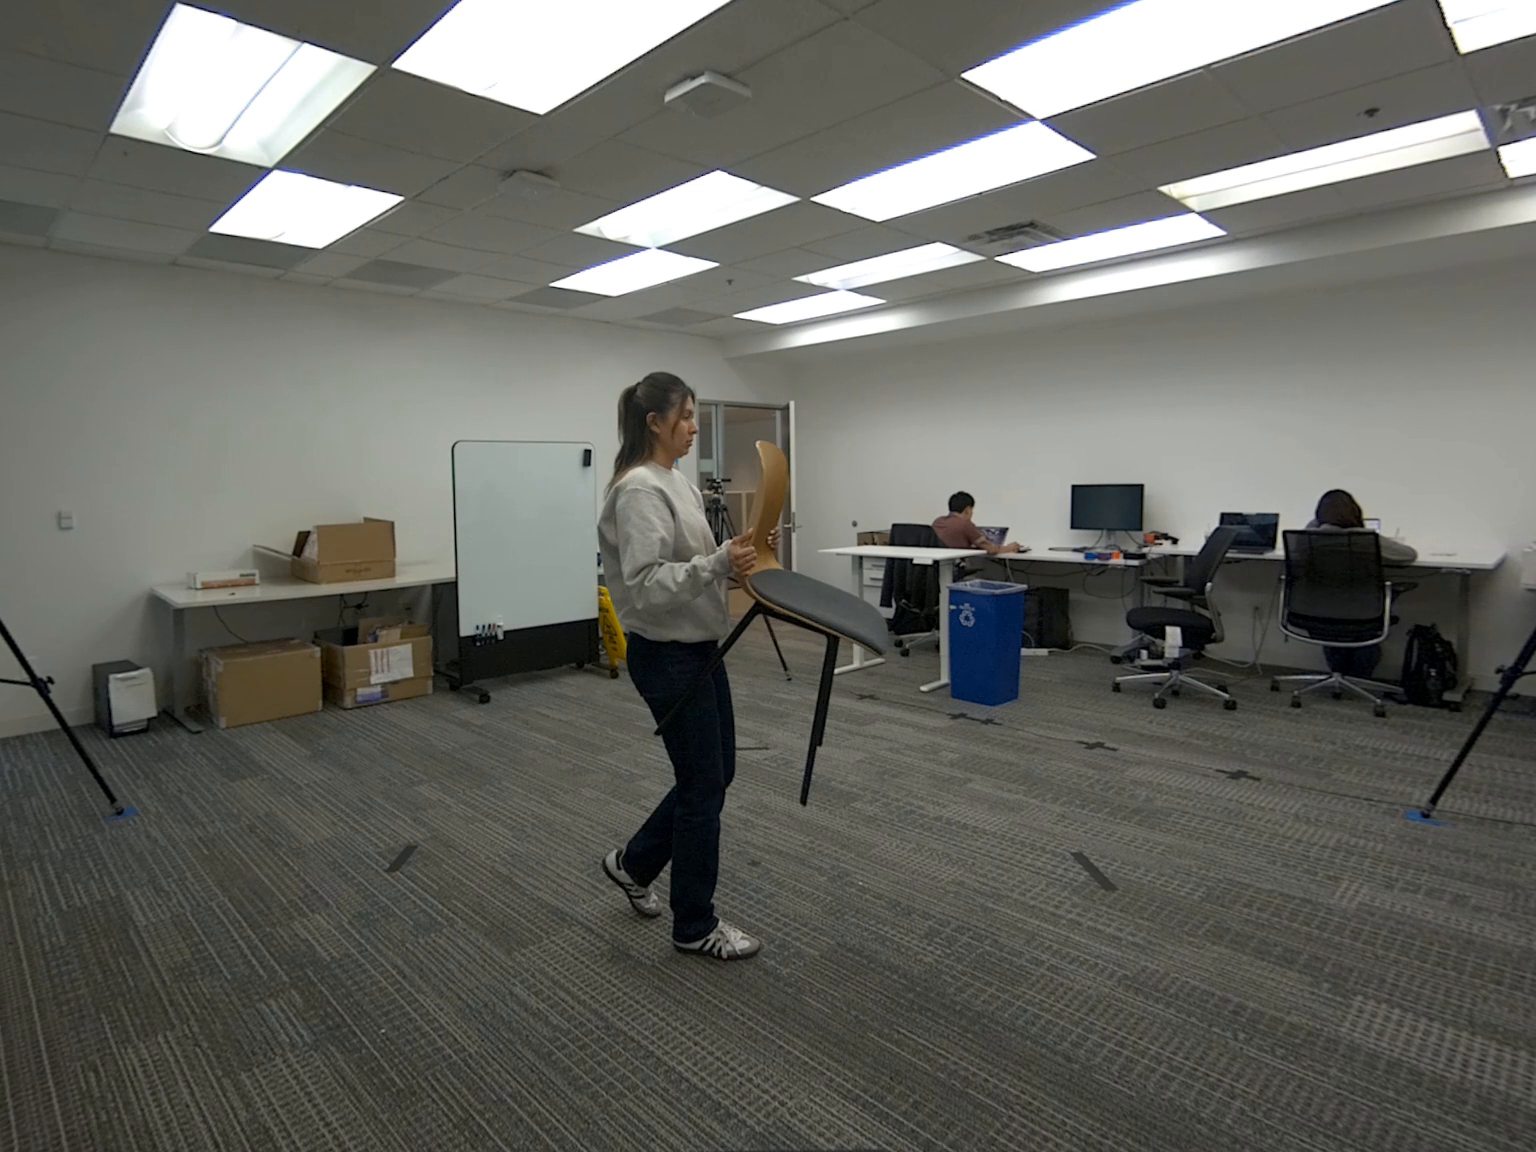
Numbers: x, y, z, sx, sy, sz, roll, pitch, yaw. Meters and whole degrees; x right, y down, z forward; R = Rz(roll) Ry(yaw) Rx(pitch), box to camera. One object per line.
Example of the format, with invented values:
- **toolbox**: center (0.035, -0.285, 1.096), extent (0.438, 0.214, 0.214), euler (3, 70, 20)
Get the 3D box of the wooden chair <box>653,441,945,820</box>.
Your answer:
- **wooden chair**: center (0.098, 0.111, 2.467), extent (0.529, 0.872, 0.475), euler (19, 10, 8)
